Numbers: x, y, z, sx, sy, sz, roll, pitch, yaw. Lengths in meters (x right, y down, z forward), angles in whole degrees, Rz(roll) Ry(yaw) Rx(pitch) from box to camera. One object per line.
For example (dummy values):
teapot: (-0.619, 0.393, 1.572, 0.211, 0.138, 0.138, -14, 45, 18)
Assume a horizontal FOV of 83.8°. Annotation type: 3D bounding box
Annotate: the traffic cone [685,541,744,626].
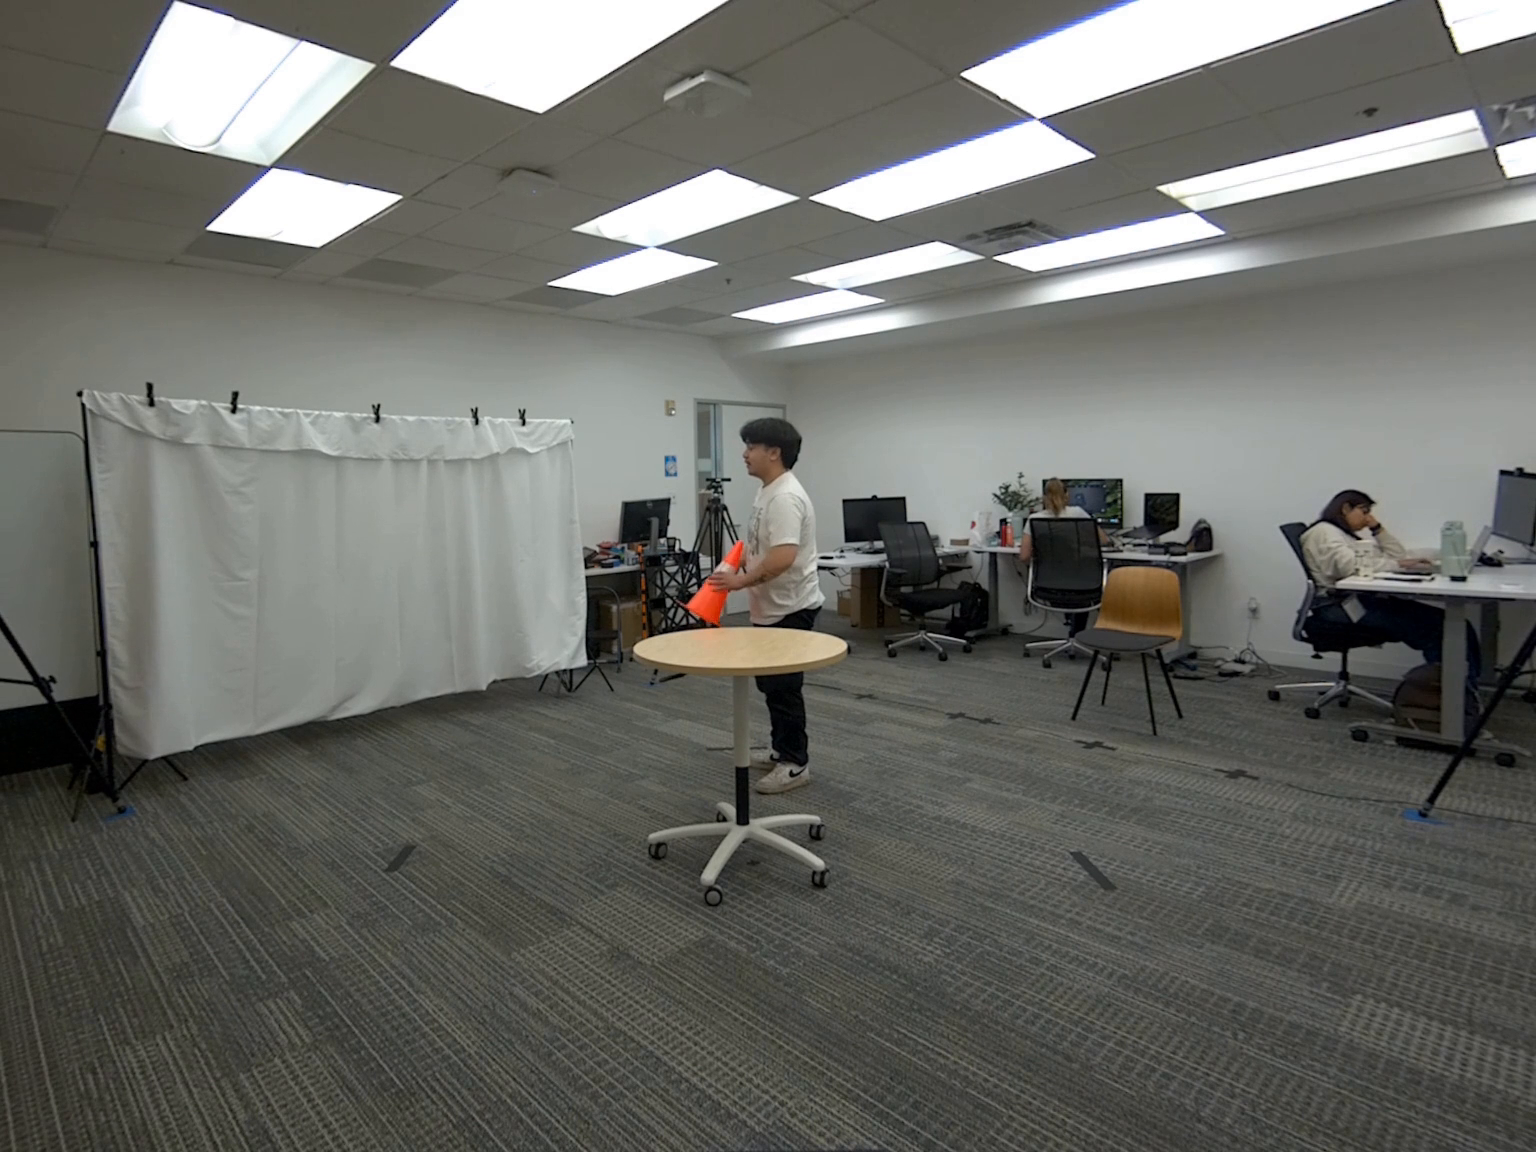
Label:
traffic cone: (-0.213, 0.012, 3.843, 0.211, 0.384, 0.197, 25, -5, 38)
